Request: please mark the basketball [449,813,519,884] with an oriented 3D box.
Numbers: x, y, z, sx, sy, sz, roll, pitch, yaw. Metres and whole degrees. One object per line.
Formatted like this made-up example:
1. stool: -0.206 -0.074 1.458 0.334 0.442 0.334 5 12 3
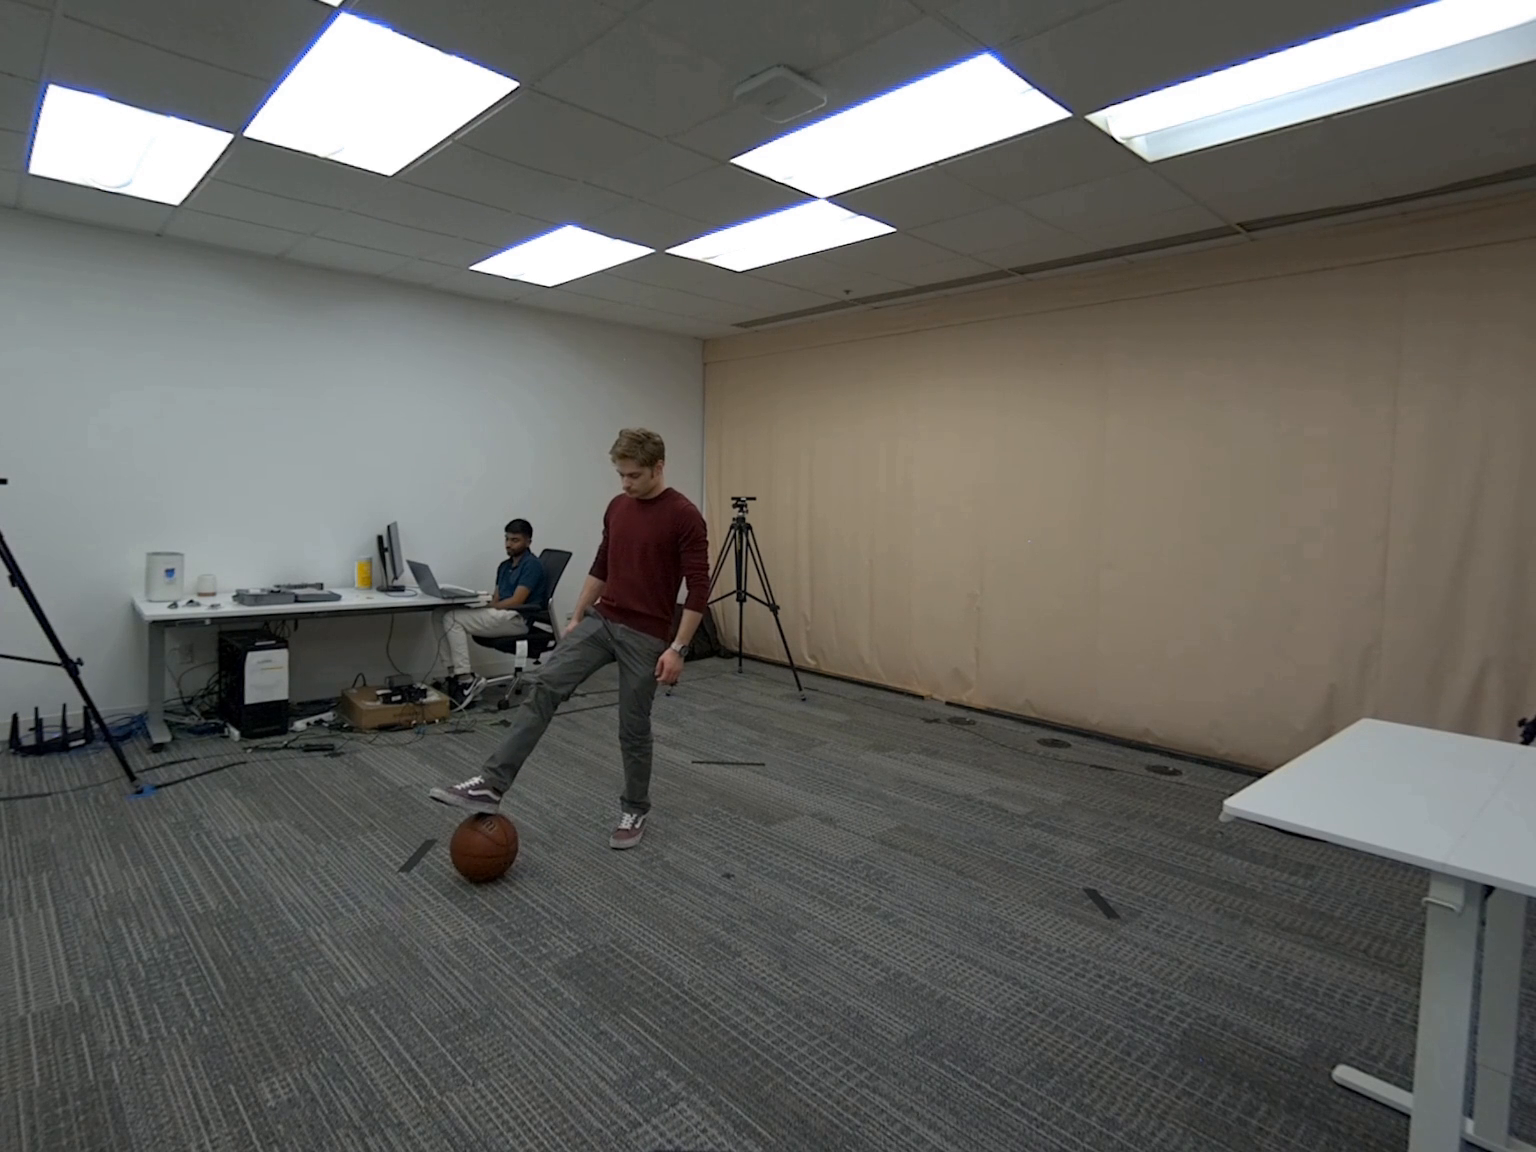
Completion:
1. basketball: -1.030 0.978 3.040 0.236 0.235 0.237 1 4 -1
